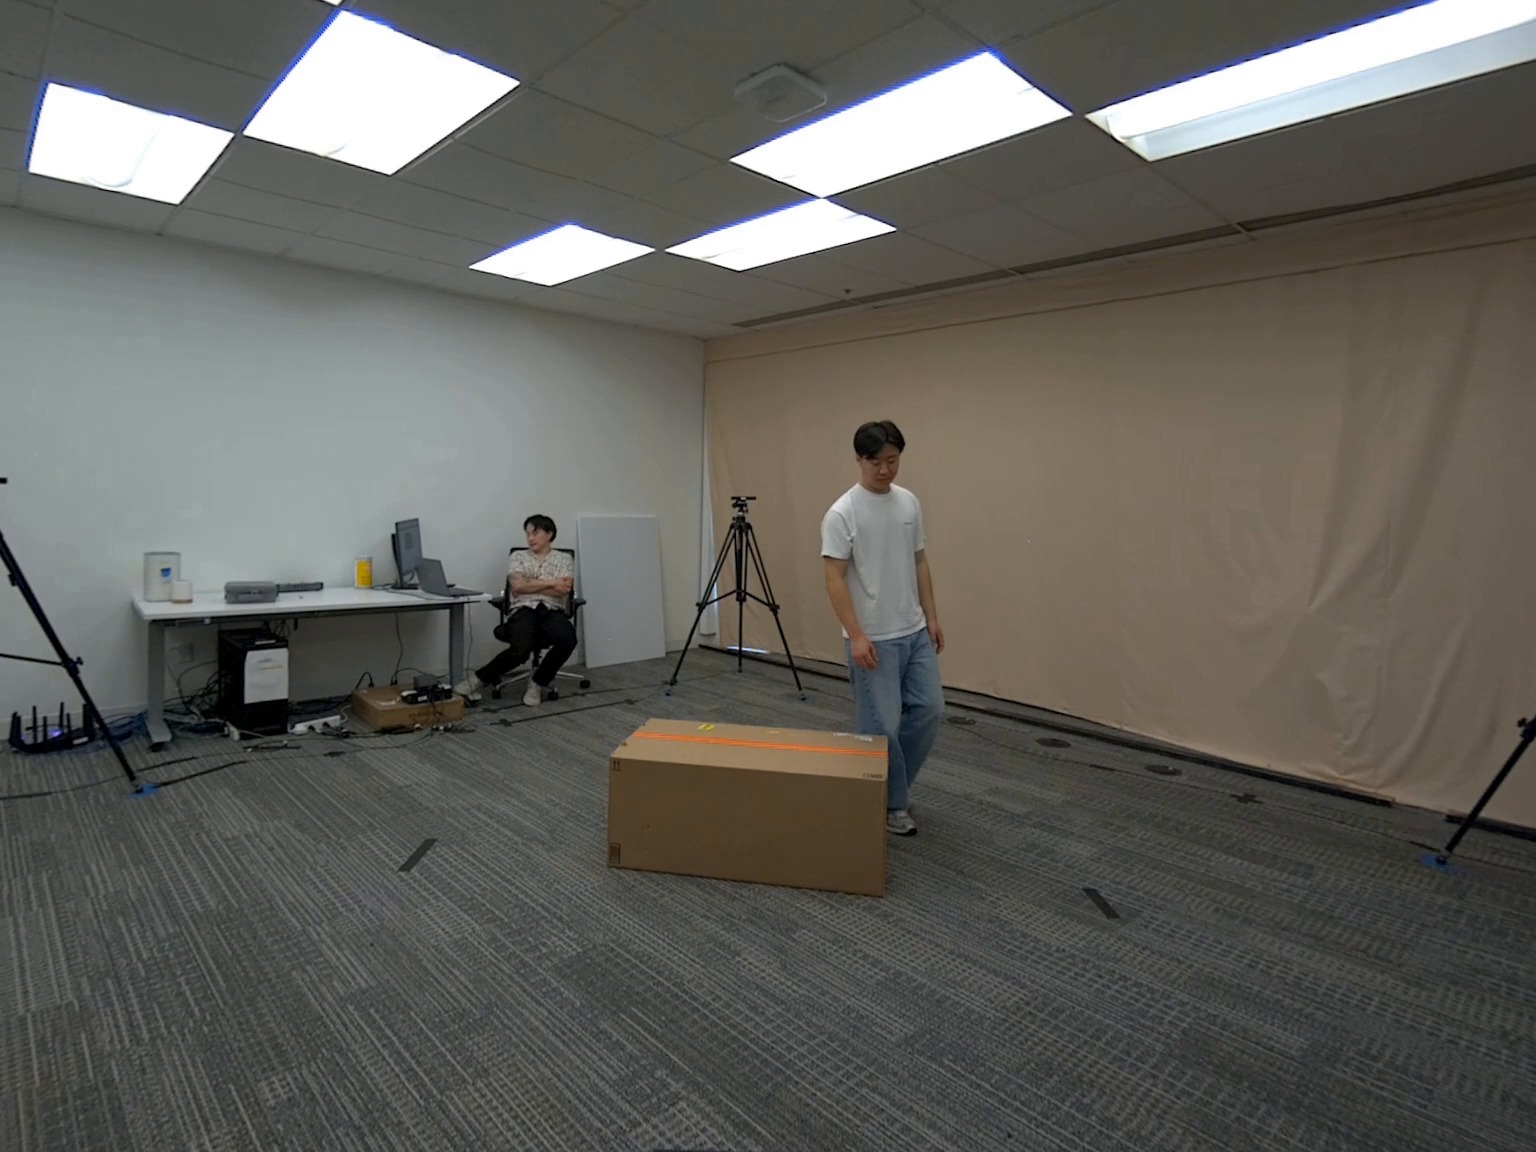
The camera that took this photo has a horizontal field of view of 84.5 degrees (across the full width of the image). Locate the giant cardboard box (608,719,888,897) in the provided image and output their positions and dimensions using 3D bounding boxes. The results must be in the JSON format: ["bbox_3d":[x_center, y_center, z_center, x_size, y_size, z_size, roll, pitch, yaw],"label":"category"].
[{"bbox_3d":[-0.057,0.872,3.314,1.035,0.425,0.574,2,4,10],"label":"giant cardboard box"}]
